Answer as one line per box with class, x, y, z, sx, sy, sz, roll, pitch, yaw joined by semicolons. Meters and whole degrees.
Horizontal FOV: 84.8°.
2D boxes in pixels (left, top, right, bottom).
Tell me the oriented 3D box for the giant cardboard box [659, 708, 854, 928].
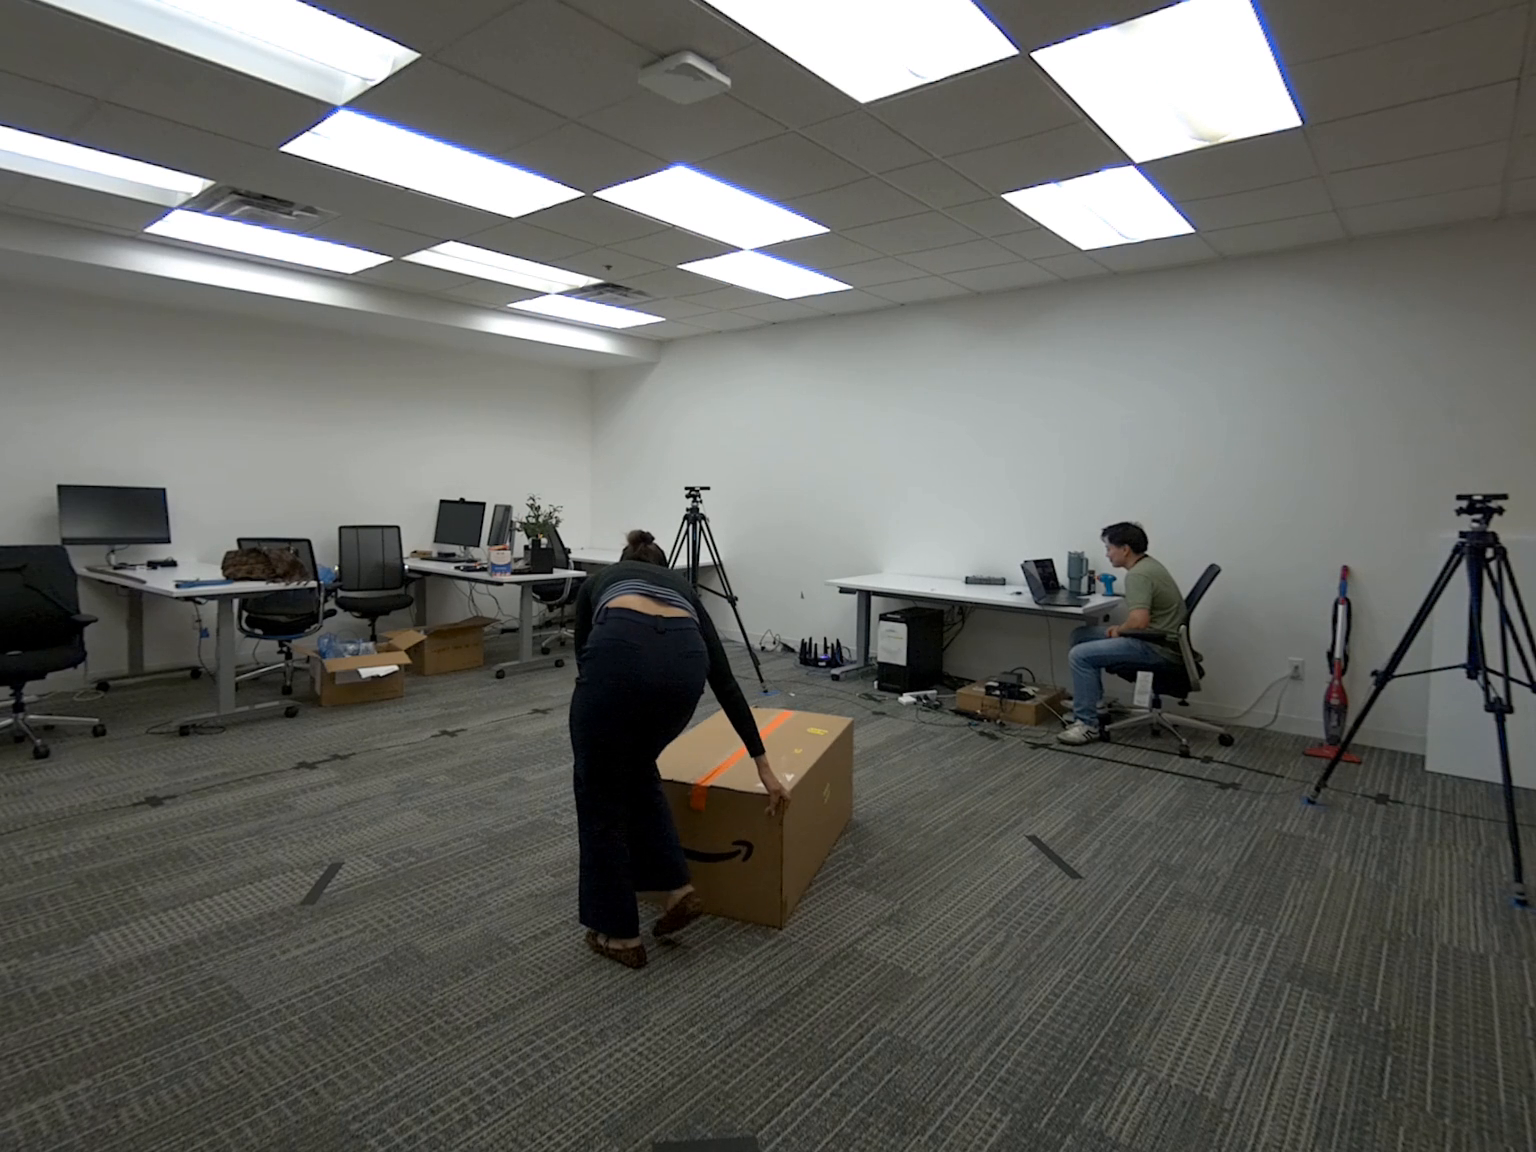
giant cardboard box;-0.076;0.838;3.239;0.590;0.424;1.008;3;6;19
